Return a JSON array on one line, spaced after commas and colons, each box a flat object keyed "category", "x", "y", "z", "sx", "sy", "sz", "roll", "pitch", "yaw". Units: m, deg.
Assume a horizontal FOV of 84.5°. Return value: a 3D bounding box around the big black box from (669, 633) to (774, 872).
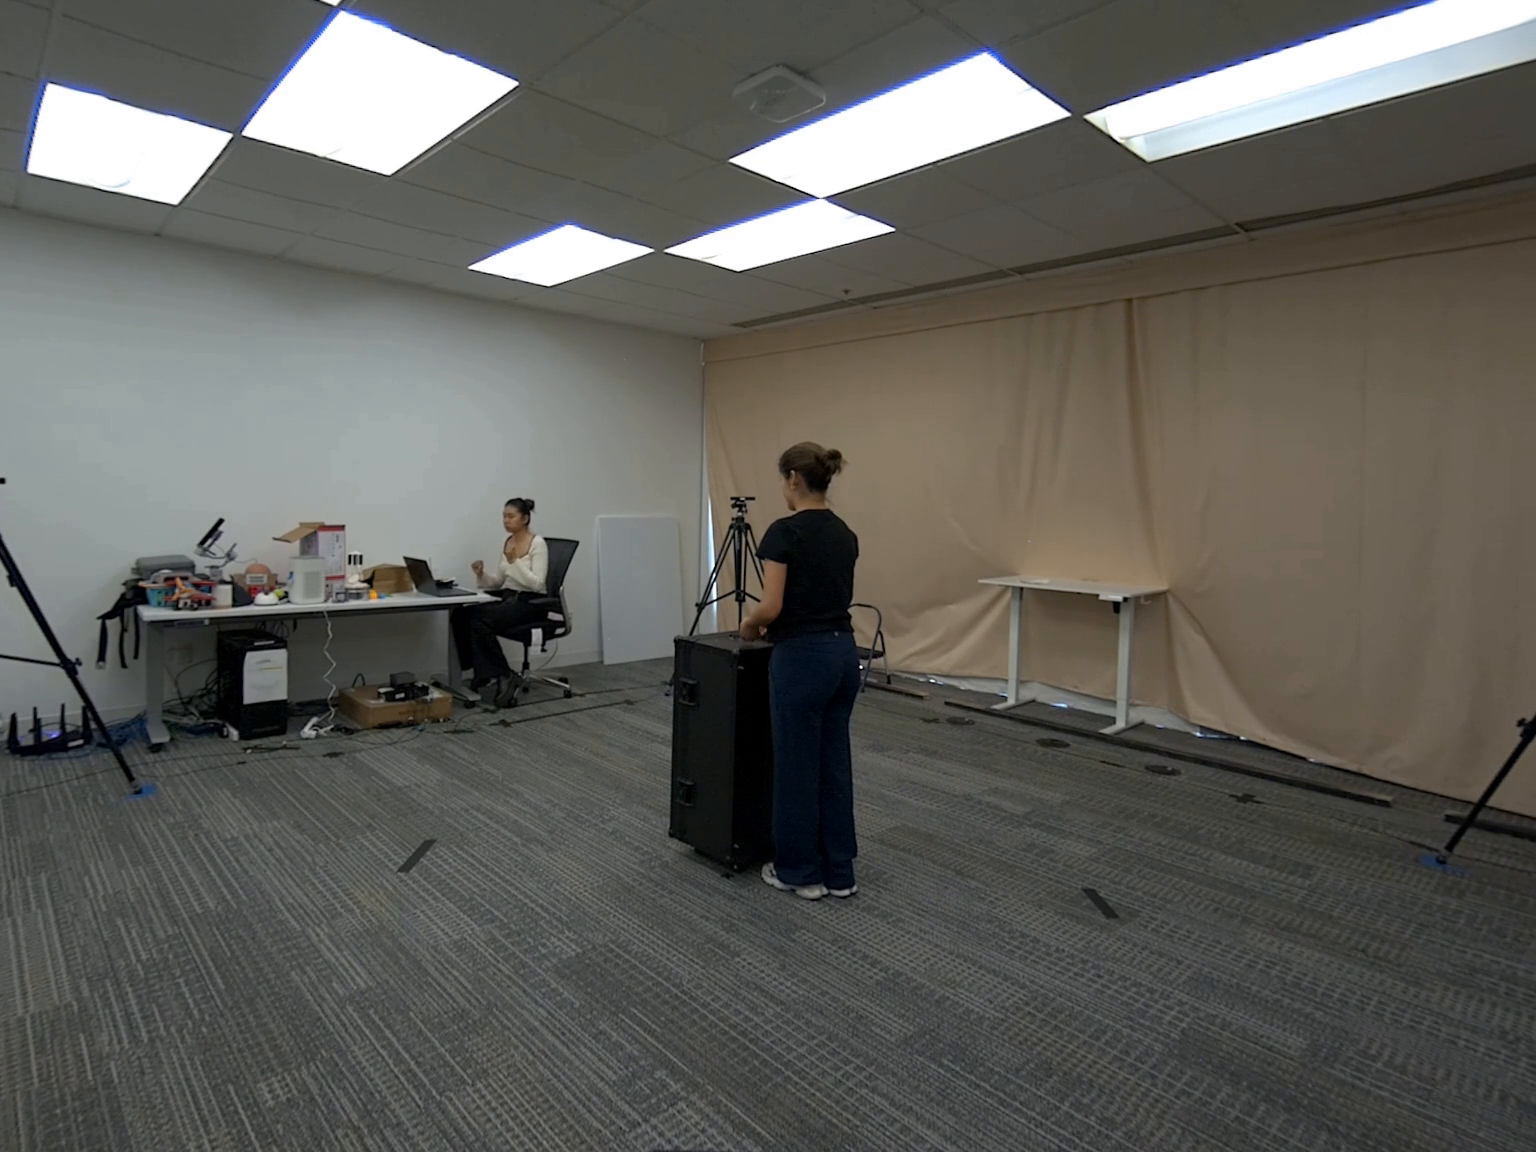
[{"category": "big black box", "x": -0.076, "y": 0.666, "z": 3.280, "sx": 0.406, "sy": 0.859, "sz": 0.509, "roll": 6, "pitch": 5, "yaw": 45}]
